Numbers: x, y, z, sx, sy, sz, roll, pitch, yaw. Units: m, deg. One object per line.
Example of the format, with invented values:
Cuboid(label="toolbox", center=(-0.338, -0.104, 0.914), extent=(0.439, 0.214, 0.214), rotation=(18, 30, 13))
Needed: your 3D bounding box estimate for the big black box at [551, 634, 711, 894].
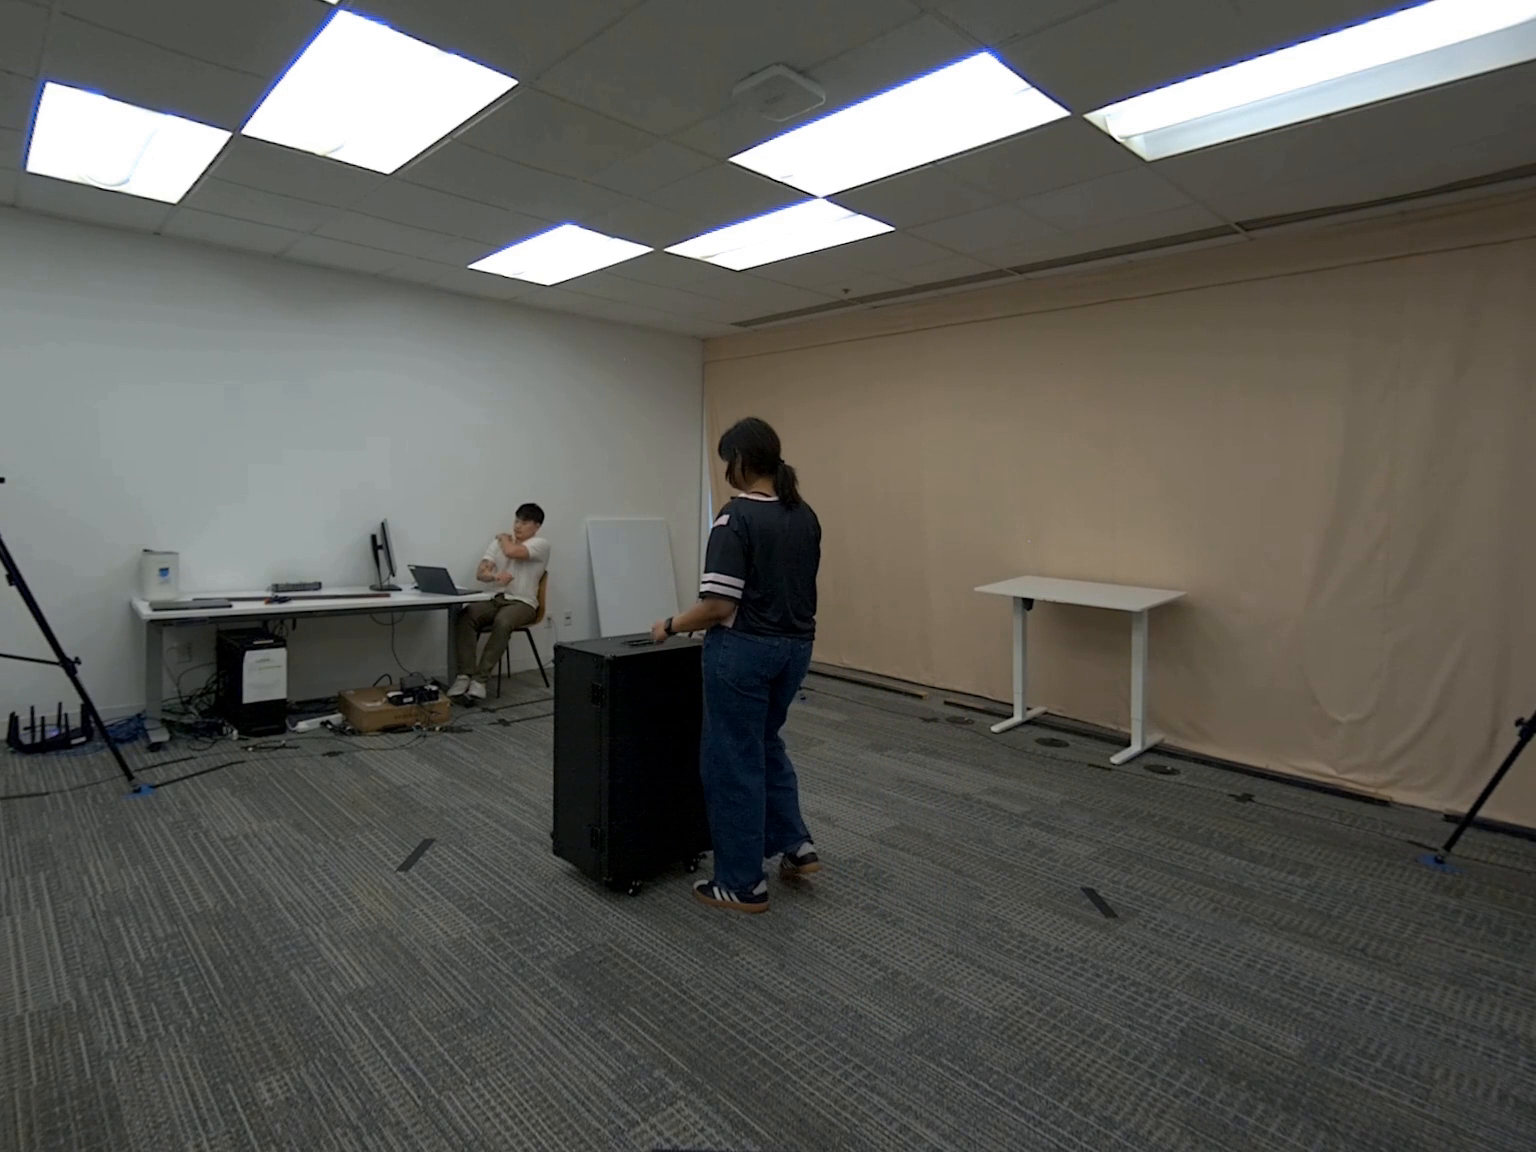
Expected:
Cuboid(label="big black box", center=(-0.505, 0.673, 3.108), extent=(0.511, 0.867, 0.395), rotation=(-2, 4, -44))
